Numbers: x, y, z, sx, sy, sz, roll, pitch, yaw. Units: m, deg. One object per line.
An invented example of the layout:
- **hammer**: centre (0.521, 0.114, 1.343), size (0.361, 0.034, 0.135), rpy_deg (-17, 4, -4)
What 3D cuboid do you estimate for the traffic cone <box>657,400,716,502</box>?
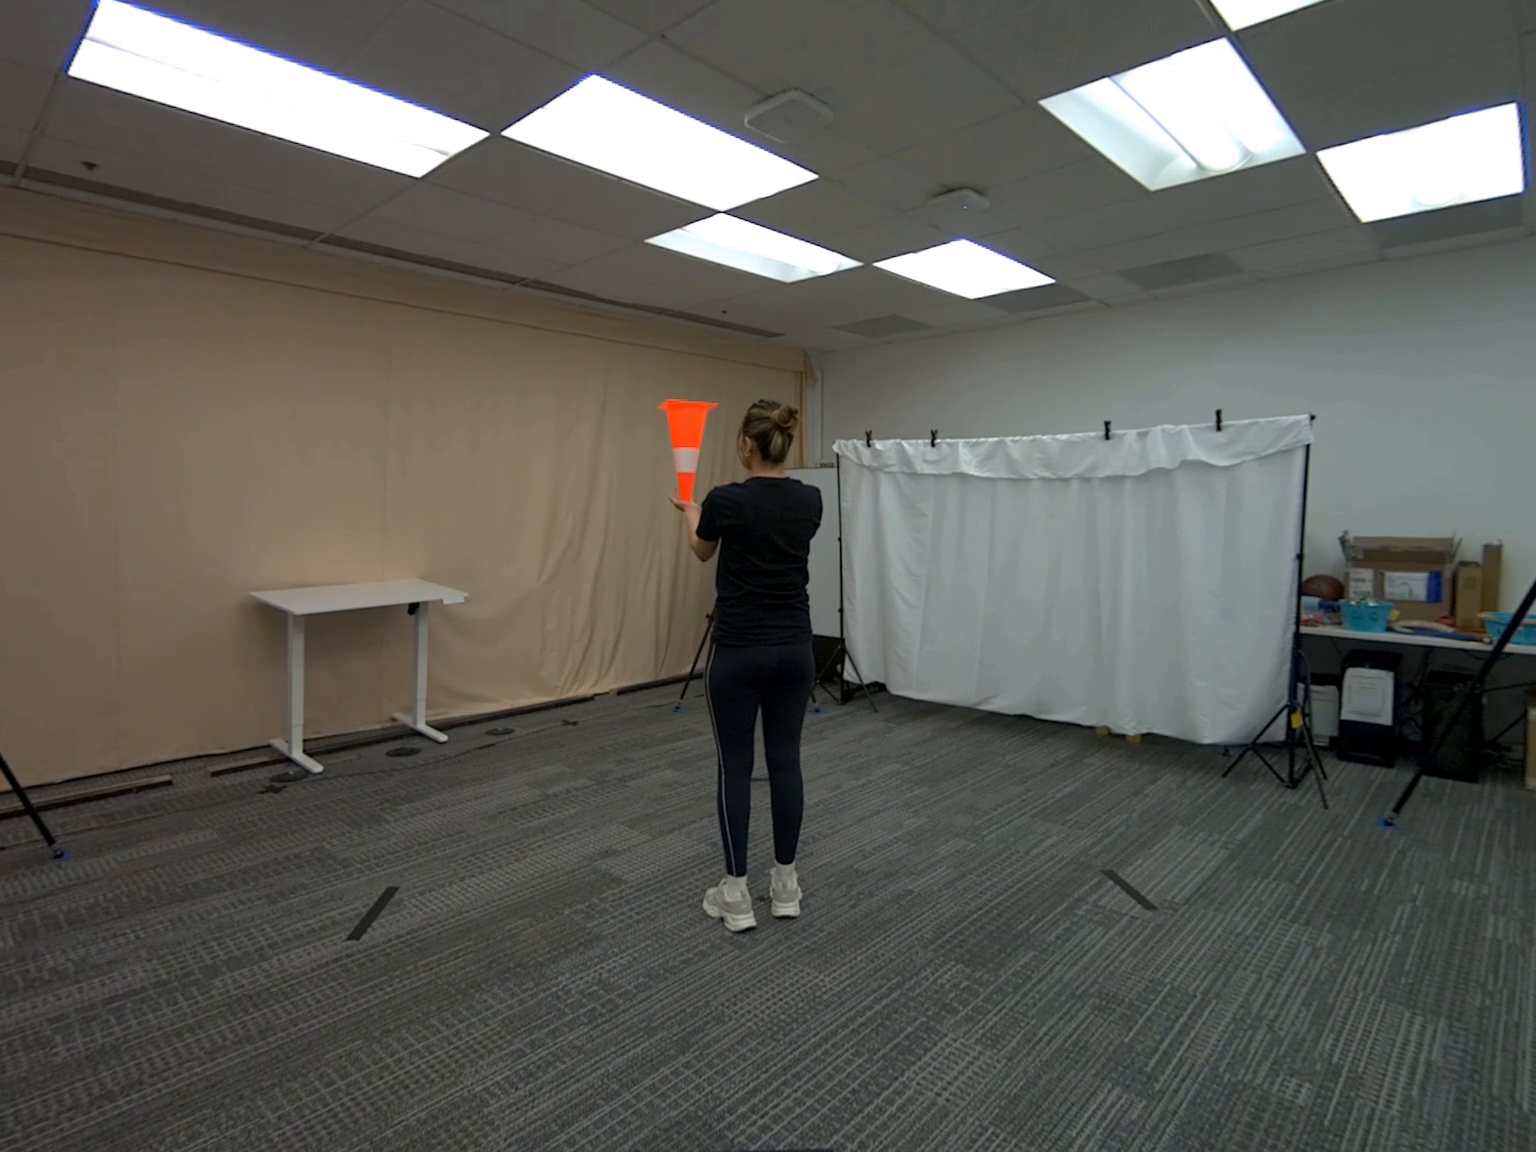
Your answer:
- **traffic cone**: centre (-0.314, -0.466, 3.243), size (0.198, 0.383, 0.210), rpy_deg (1, 1, -25)
